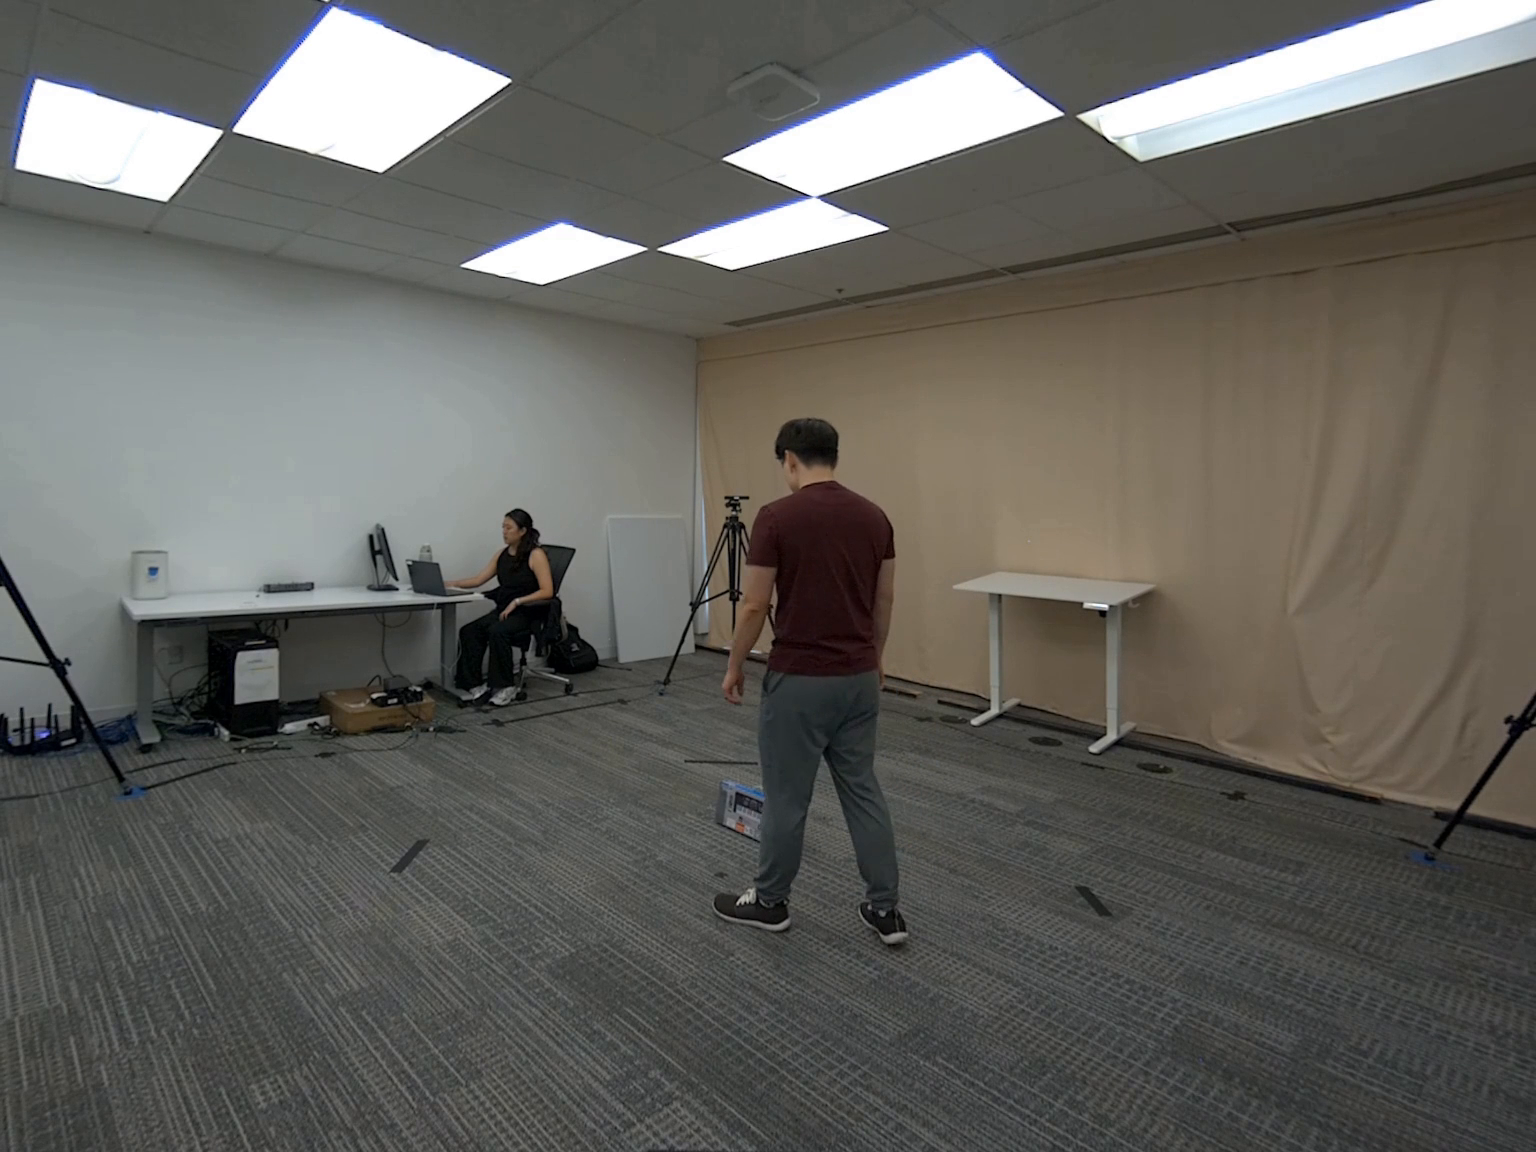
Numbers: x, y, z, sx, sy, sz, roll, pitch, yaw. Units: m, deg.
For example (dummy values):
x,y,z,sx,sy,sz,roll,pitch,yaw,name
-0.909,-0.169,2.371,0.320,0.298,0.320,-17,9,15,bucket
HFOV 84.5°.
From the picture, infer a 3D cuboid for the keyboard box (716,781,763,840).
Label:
x,y,z,sx,sy,sz,roll,pitch,yaw,name
-0.055,0.989,3.469,0.057,0.176,0.448,10,-3,-43,keyboard box
